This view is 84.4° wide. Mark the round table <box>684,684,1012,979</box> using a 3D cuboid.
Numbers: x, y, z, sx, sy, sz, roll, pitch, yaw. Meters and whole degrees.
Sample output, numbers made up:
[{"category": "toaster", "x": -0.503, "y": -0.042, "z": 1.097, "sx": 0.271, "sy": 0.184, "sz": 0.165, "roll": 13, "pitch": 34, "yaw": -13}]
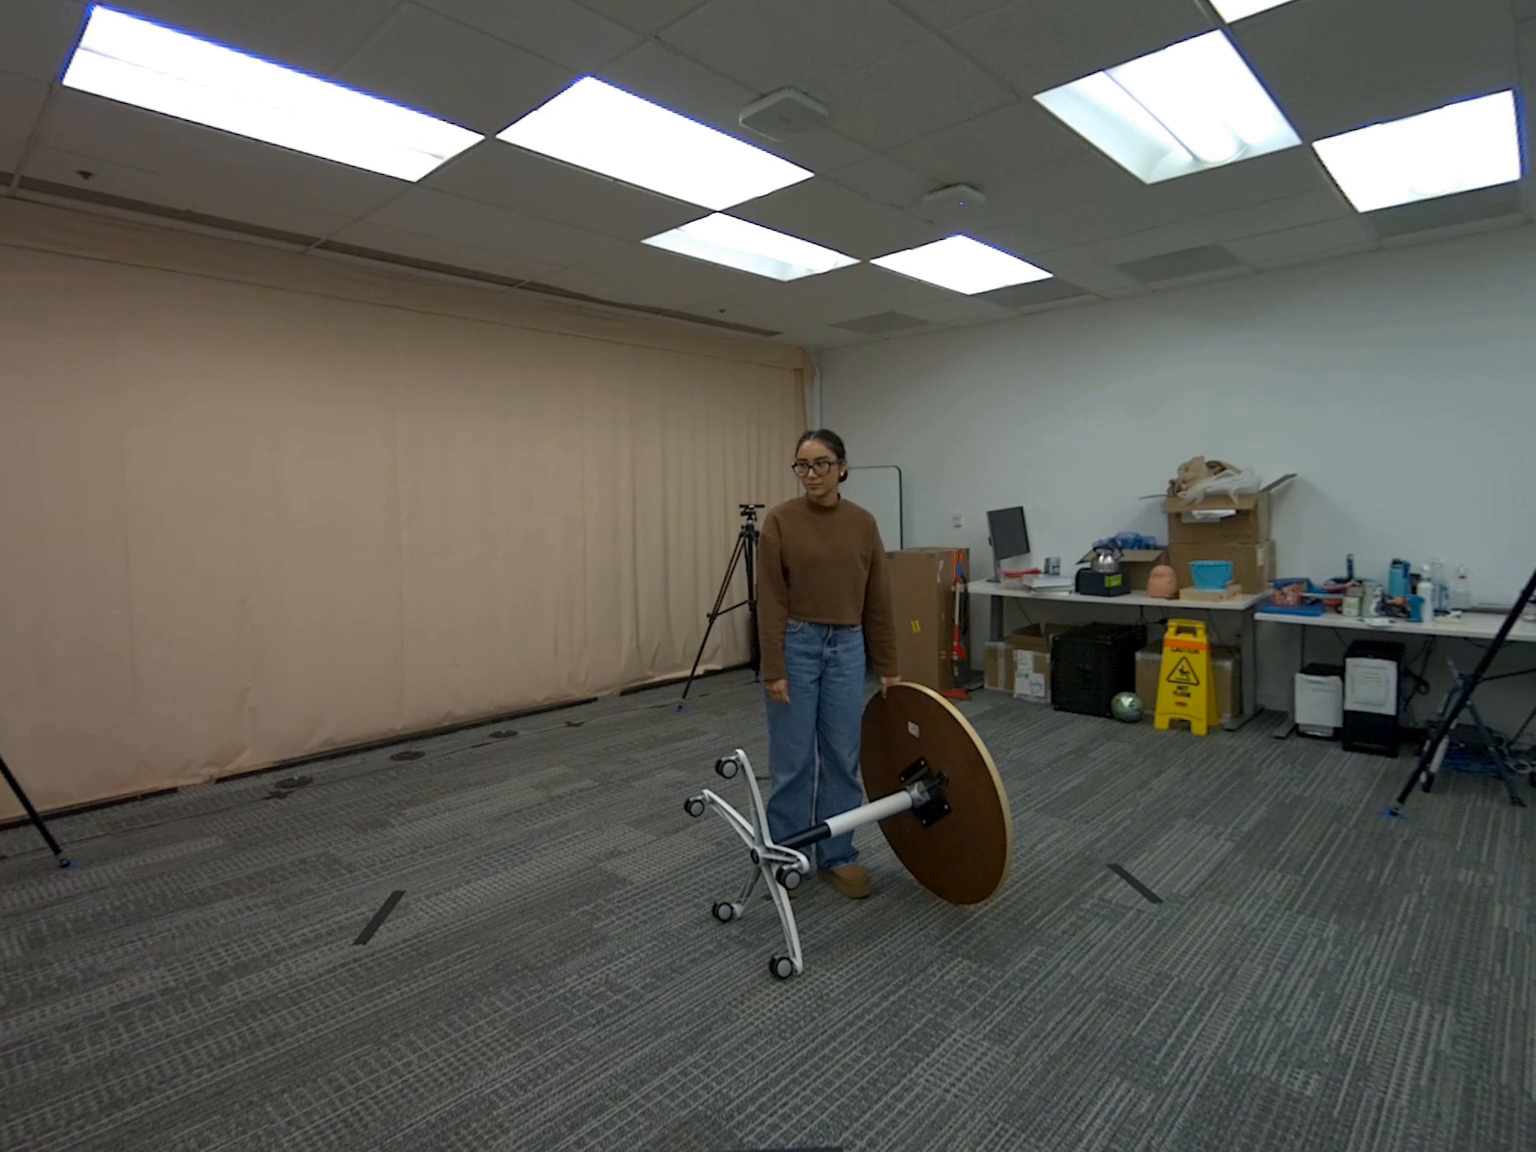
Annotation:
[{"category": "round table", "x": 0.233, "y": 0.821, "z": 2.773, "sx": 0.776, "sy": 0.760, "sz": 0.785, "roll": -11, "pitch": 8, "yaw": -27}]
